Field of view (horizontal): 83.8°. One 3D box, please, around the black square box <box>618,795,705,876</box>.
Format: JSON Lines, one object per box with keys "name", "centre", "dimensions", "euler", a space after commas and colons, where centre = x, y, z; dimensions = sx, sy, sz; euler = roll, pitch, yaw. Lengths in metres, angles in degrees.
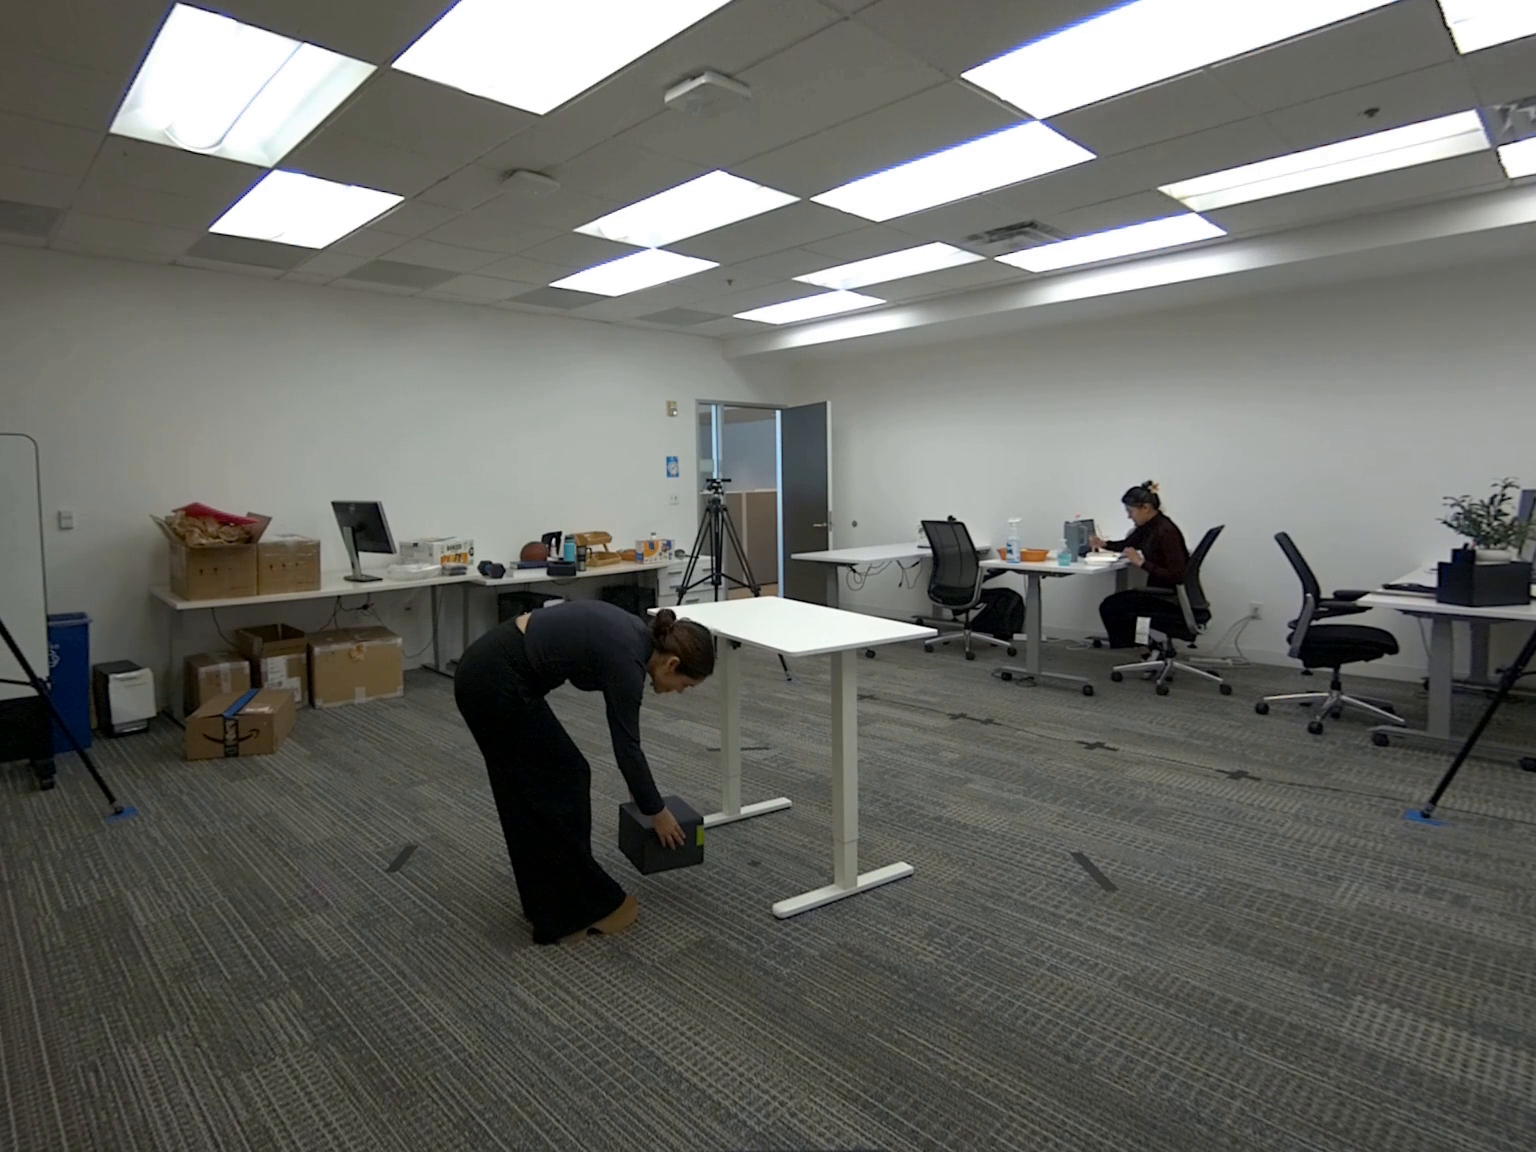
{"name": "black square box", "centre": [-0.361, 0.862, 2.854], "dimensions": [0.212, 0.155, 0.234], "euler": [-1, 6, -30]}
